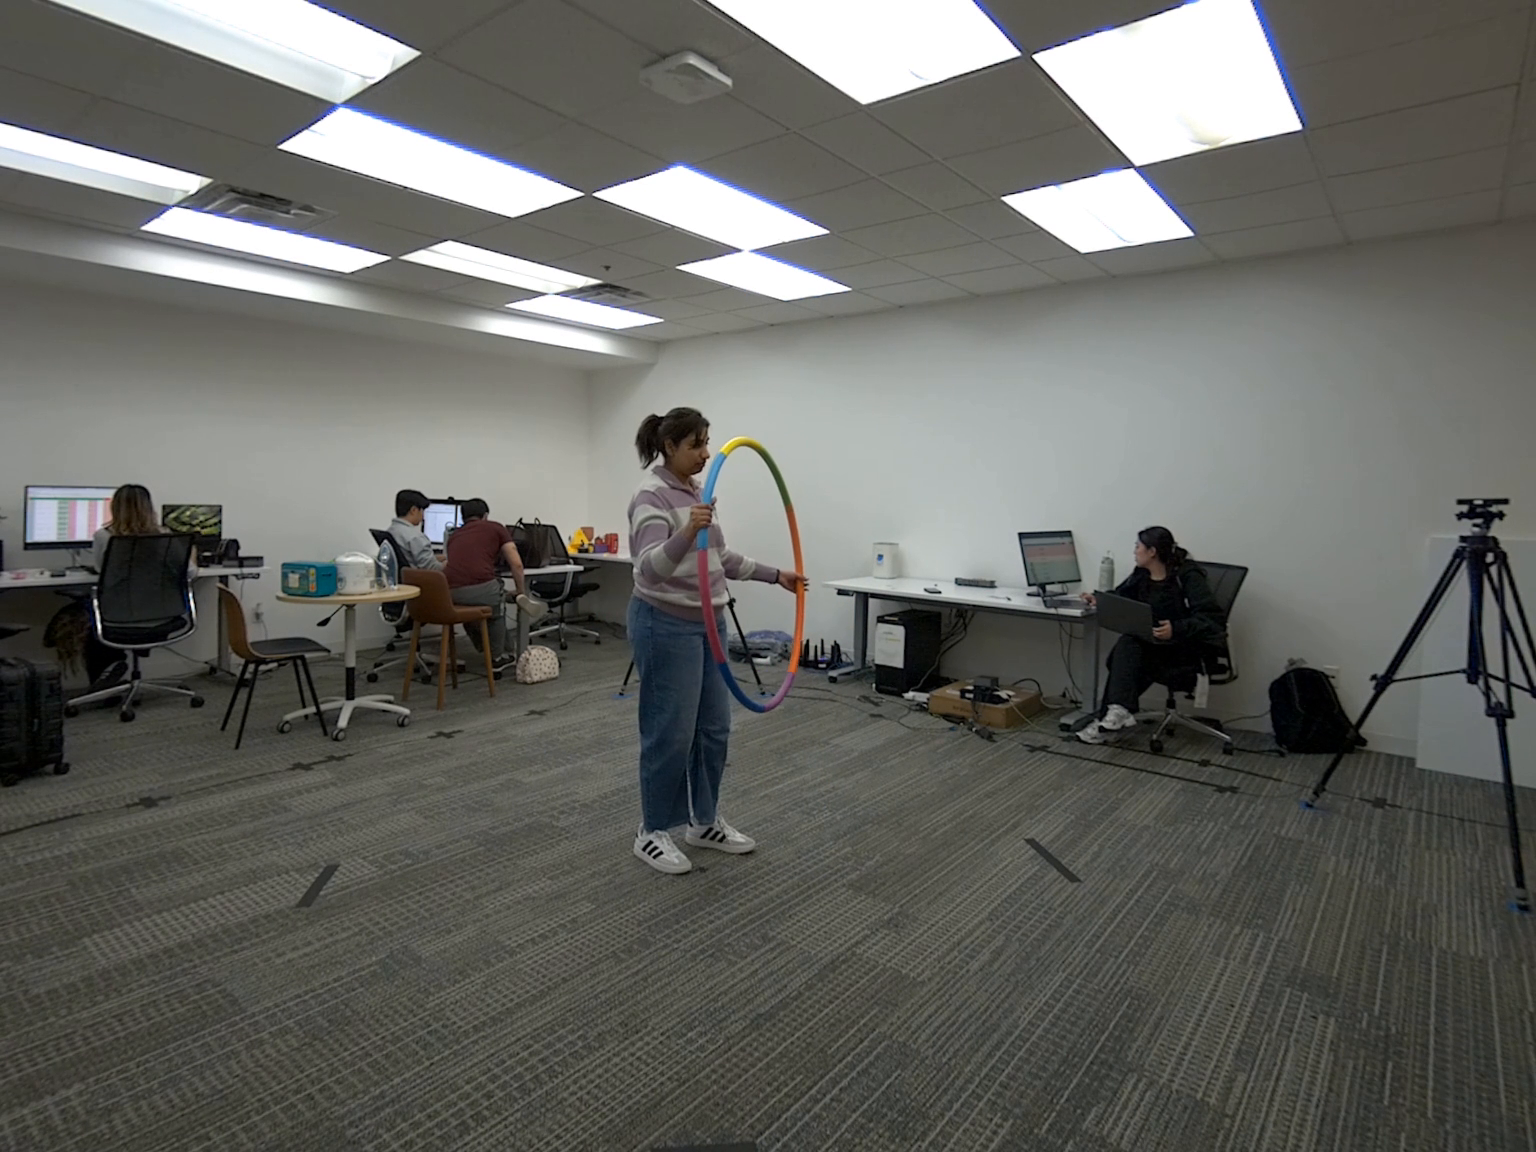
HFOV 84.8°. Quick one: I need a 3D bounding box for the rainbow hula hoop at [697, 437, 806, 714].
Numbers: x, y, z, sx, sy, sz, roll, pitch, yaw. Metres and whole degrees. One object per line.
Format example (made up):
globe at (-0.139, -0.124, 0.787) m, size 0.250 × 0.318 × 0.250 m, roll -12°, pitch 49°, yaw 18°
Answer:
rainbow hula hoop at (-0.043, -0.005, 3.071) m, size 0.036 × 0.978 × 0.959 m, roll -4°, pitch 2°, yaw 21°
